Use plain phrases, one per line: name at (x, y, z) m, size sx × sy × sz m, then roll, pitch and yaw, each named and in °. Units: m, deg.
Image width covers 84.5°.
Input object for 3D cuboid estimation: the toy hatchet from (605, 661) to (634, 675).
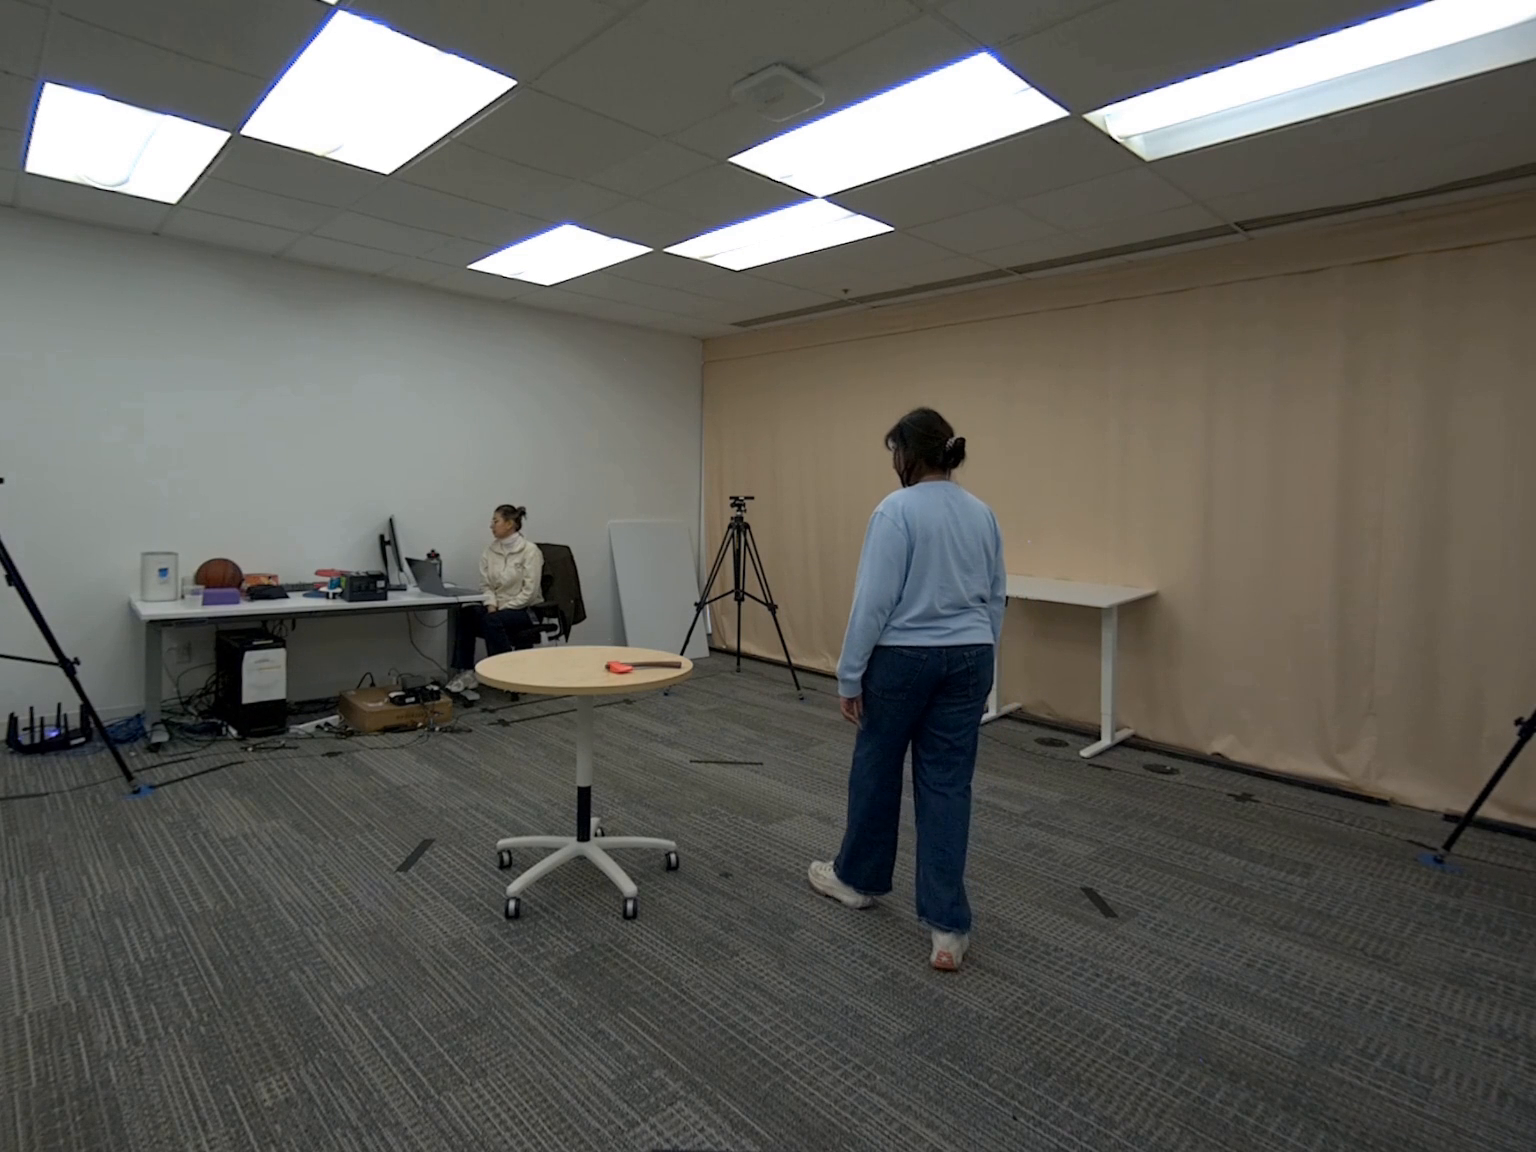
toy hatchet at (-0.433, 0.320, 2.904) m, size 0.268 × 0.029 × 0.132 m, roll 2°, pitch 5°, yaw -7°
